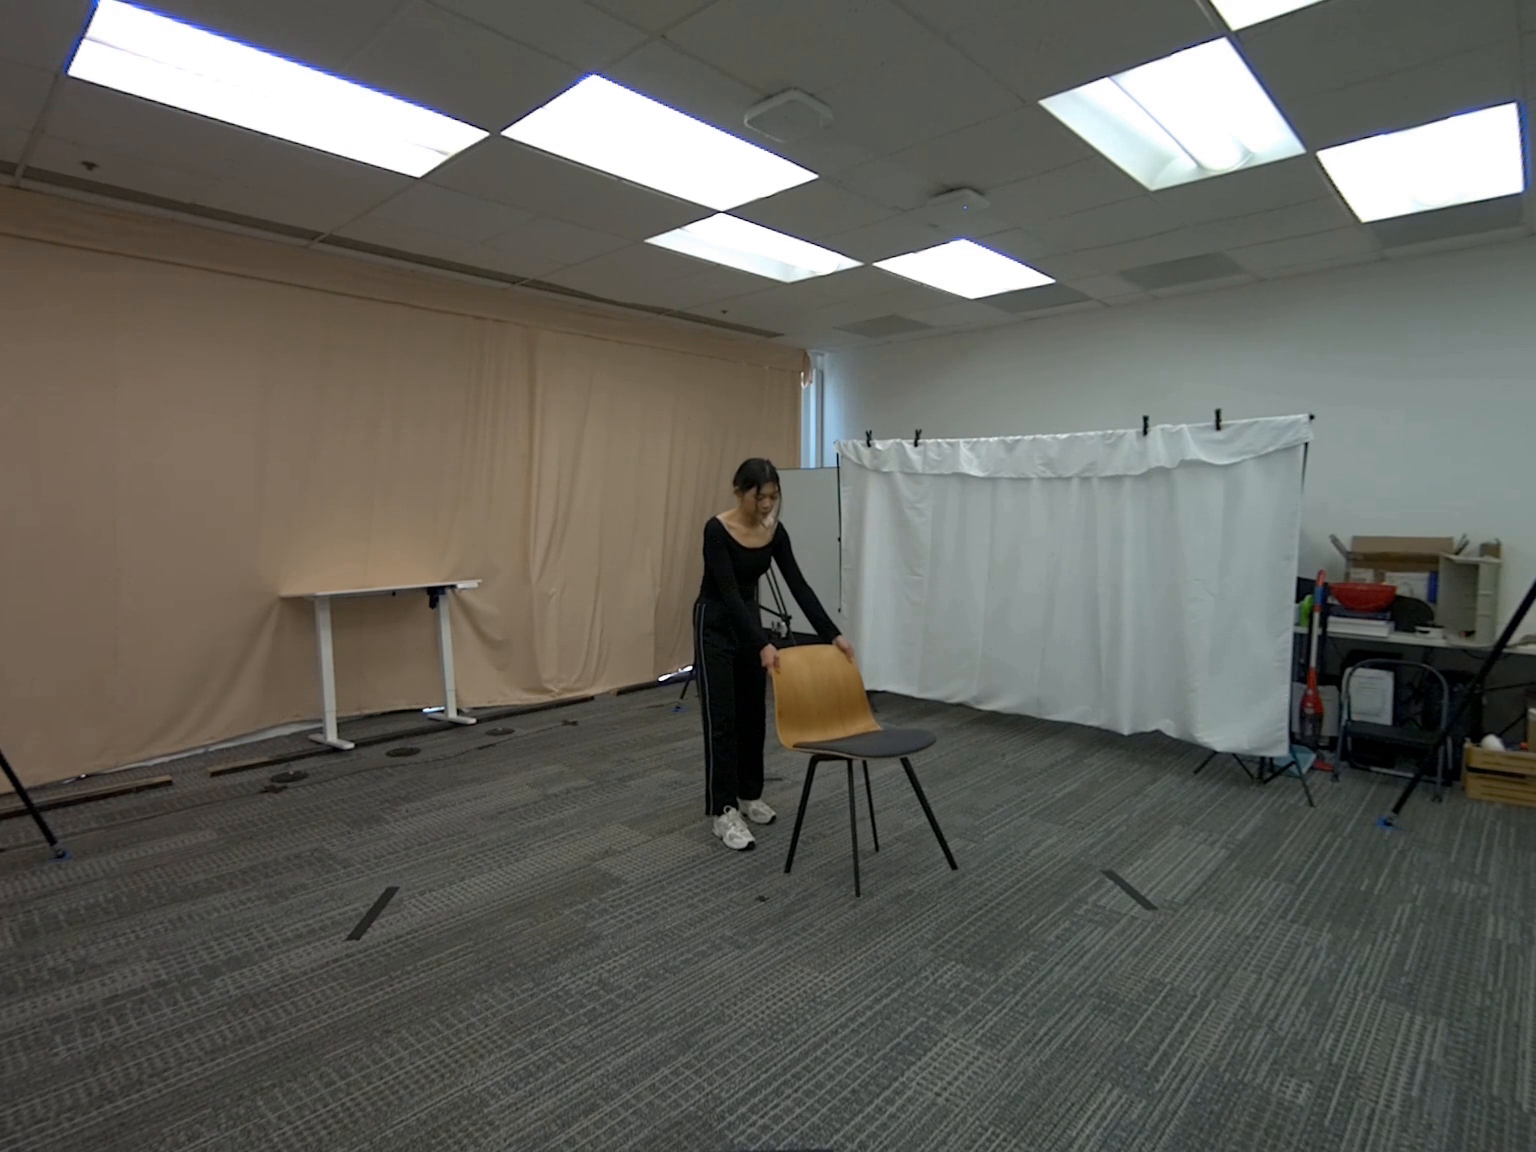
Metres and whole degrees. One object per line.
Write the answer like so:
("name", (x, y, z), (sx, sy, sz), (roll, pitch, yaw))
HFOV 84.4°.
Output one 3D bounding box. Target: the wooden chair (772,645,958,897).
("wooden chair", (0.333, 0.667, 3.138), (0.465, 0.885, 0.533), (-2, -12, -31))
